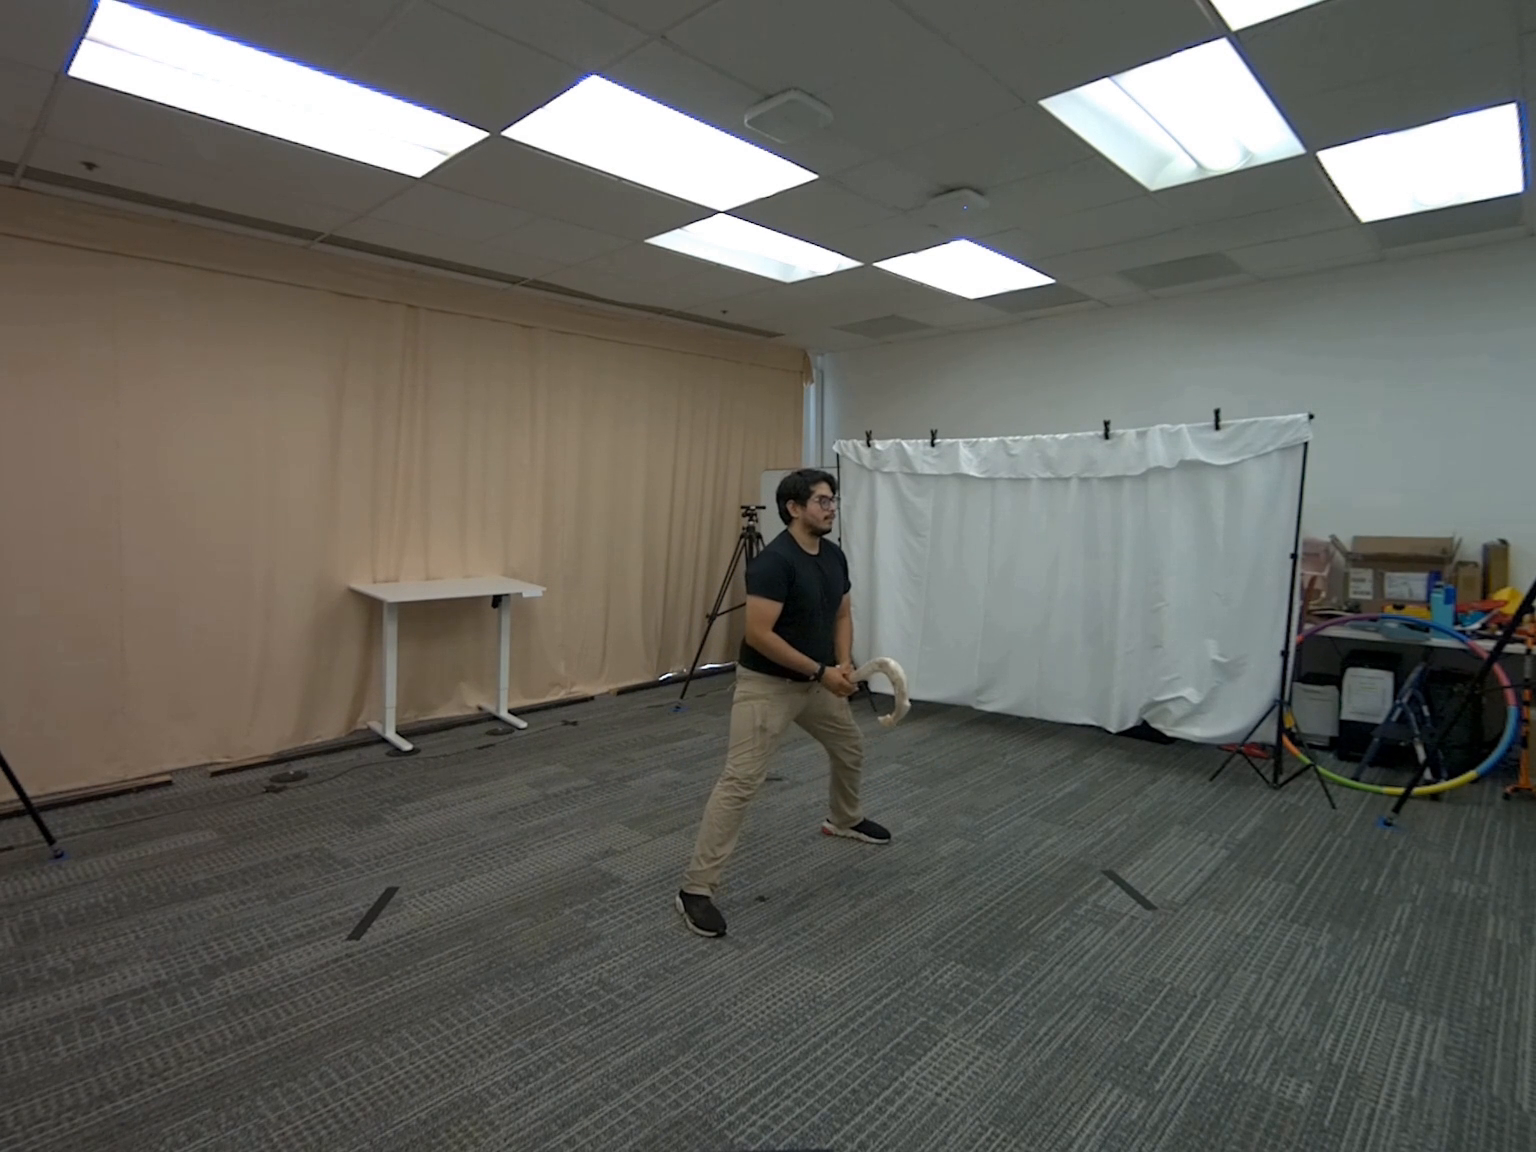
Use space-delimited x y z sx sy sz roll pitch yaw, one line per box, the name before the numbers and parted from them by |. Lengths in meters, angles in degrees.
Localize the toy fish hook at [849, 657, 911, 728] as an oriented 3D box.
toy fish hook | 0.330 0.403 2.880 0.047 0.226 0.515 -1 -8 -24
